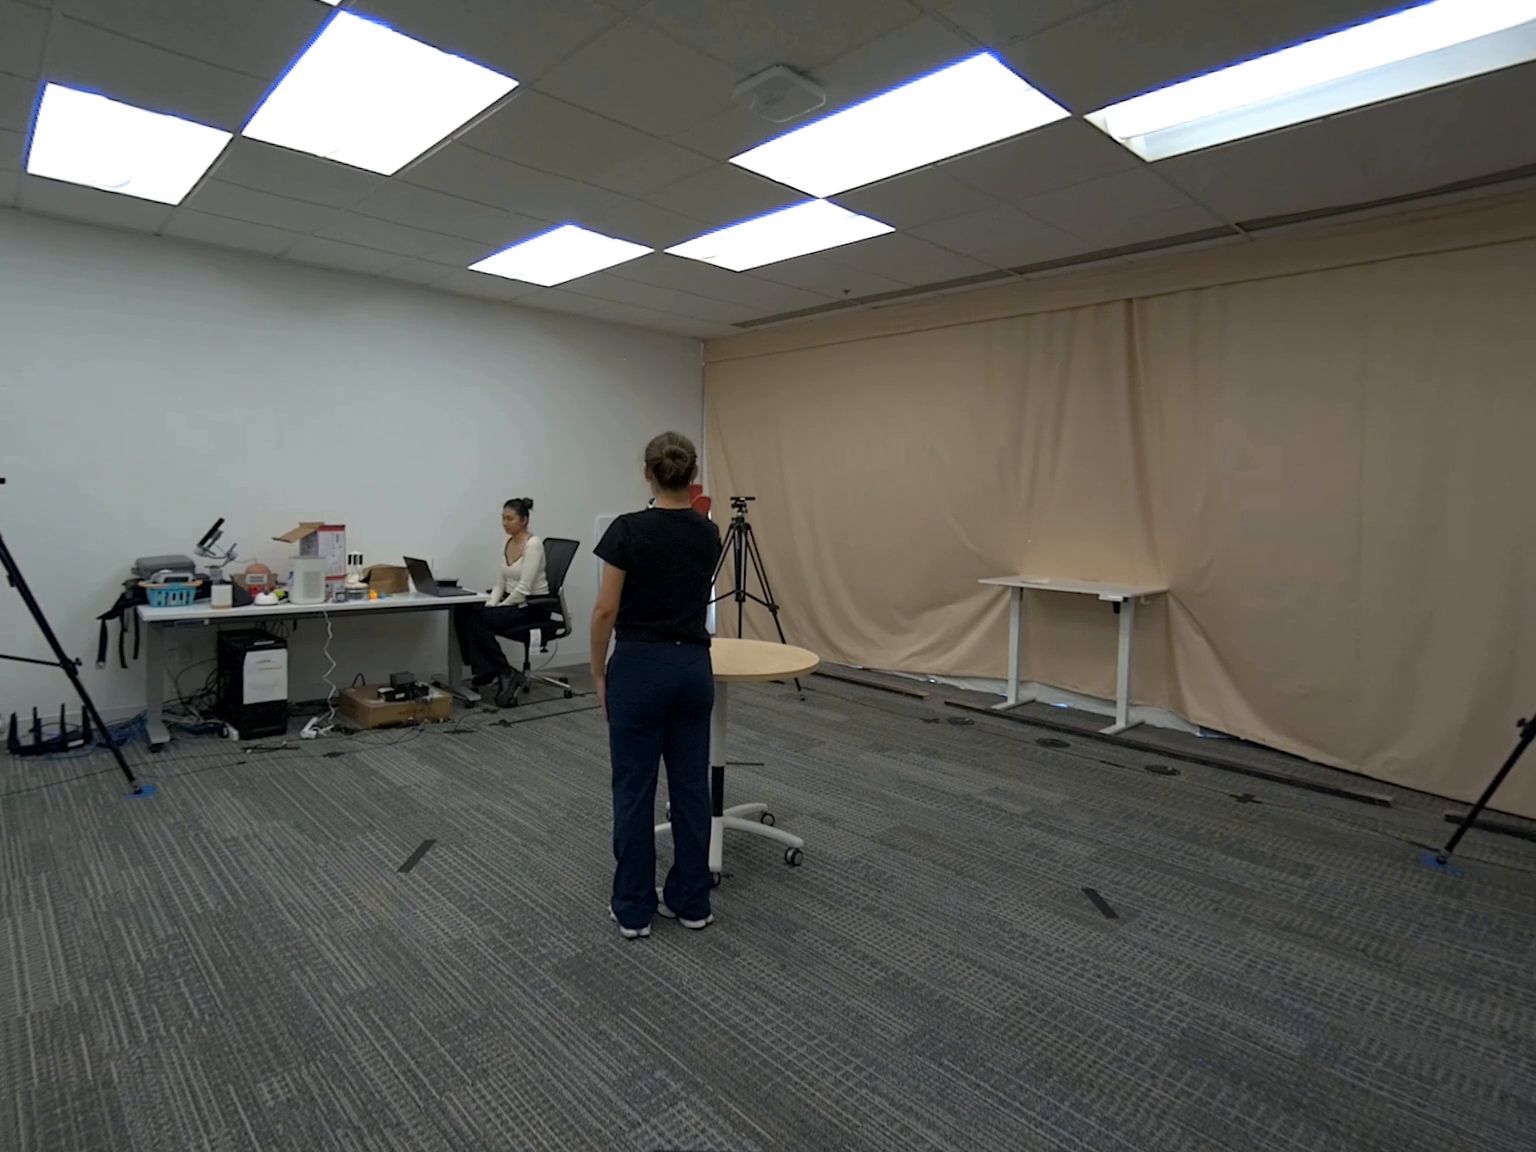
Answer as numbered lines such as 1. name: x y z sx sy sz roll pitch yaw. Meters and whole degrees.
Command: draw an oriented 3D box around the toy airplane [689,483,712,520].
1. toy airplane: -0.346 -0.210 3.239 0.257 0.246 0.161 -30 58 -26
